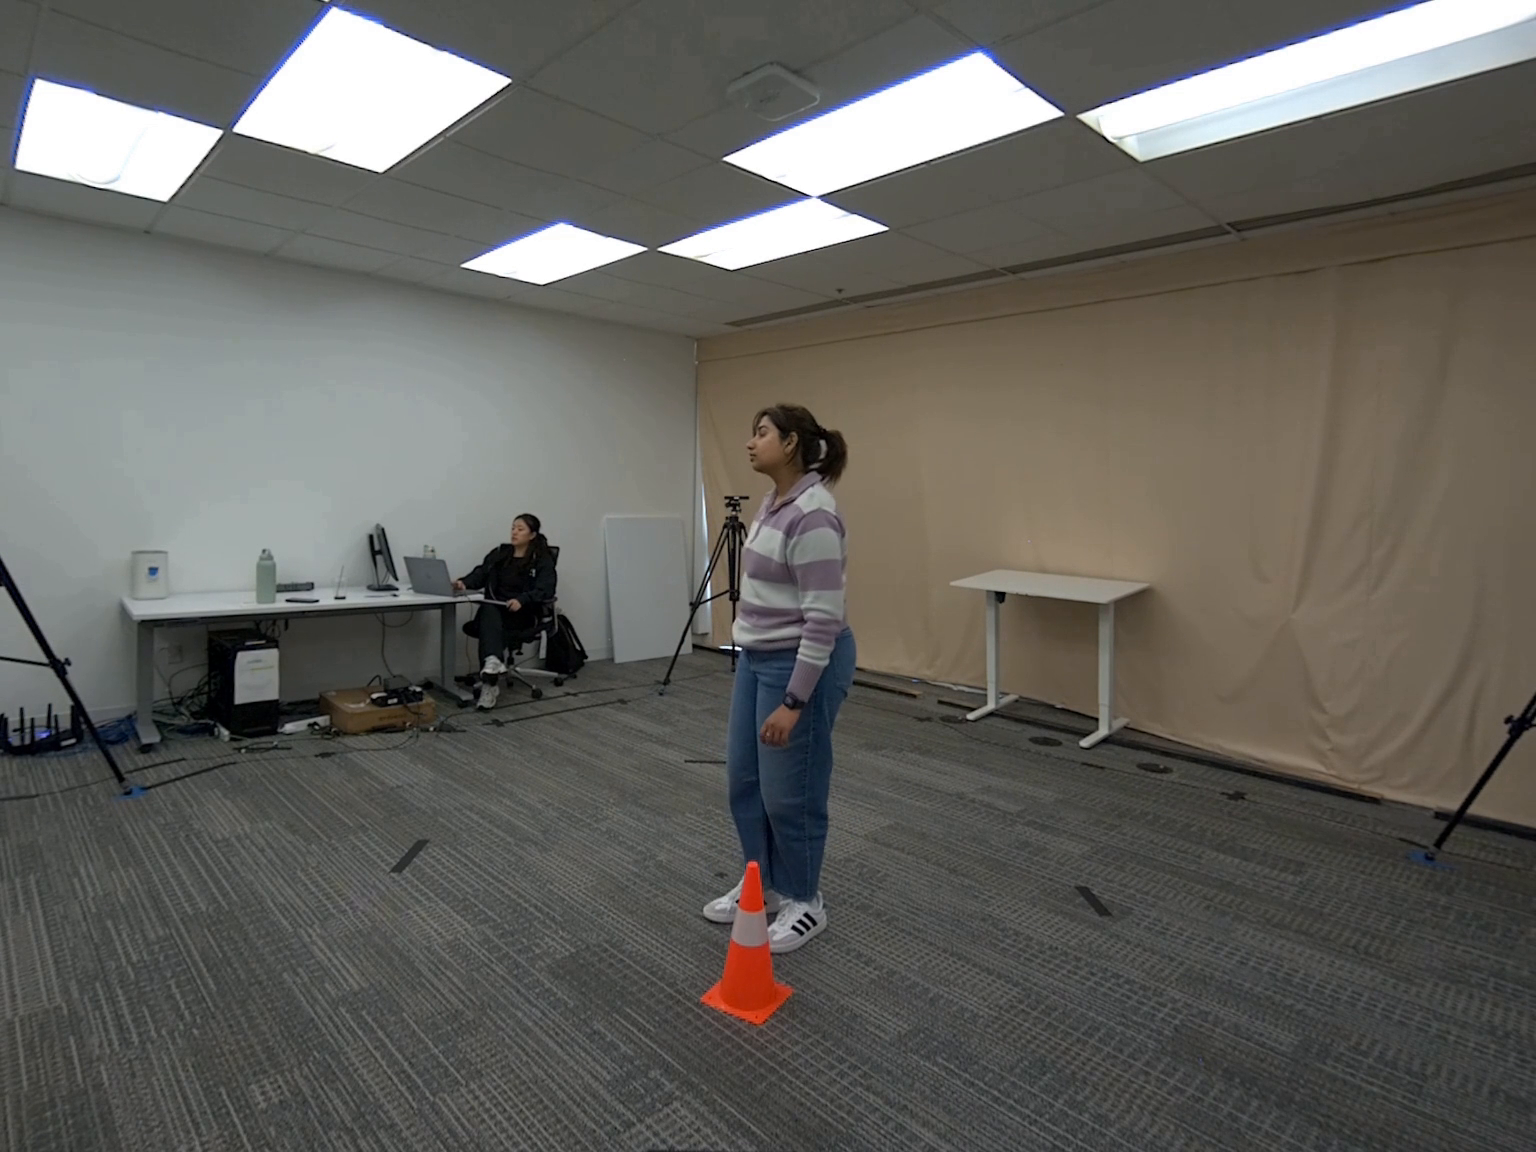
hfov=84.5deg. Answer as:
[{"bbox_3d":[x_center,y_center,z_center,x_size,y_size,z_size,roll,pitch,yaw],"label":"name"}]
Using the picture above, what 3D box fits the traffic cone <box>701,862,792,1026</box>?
[{"bbox_3d":[-0.052,0.996,2.344,0.208,0.383,0.200,6,4,33],"label":"traffic cone"}]
